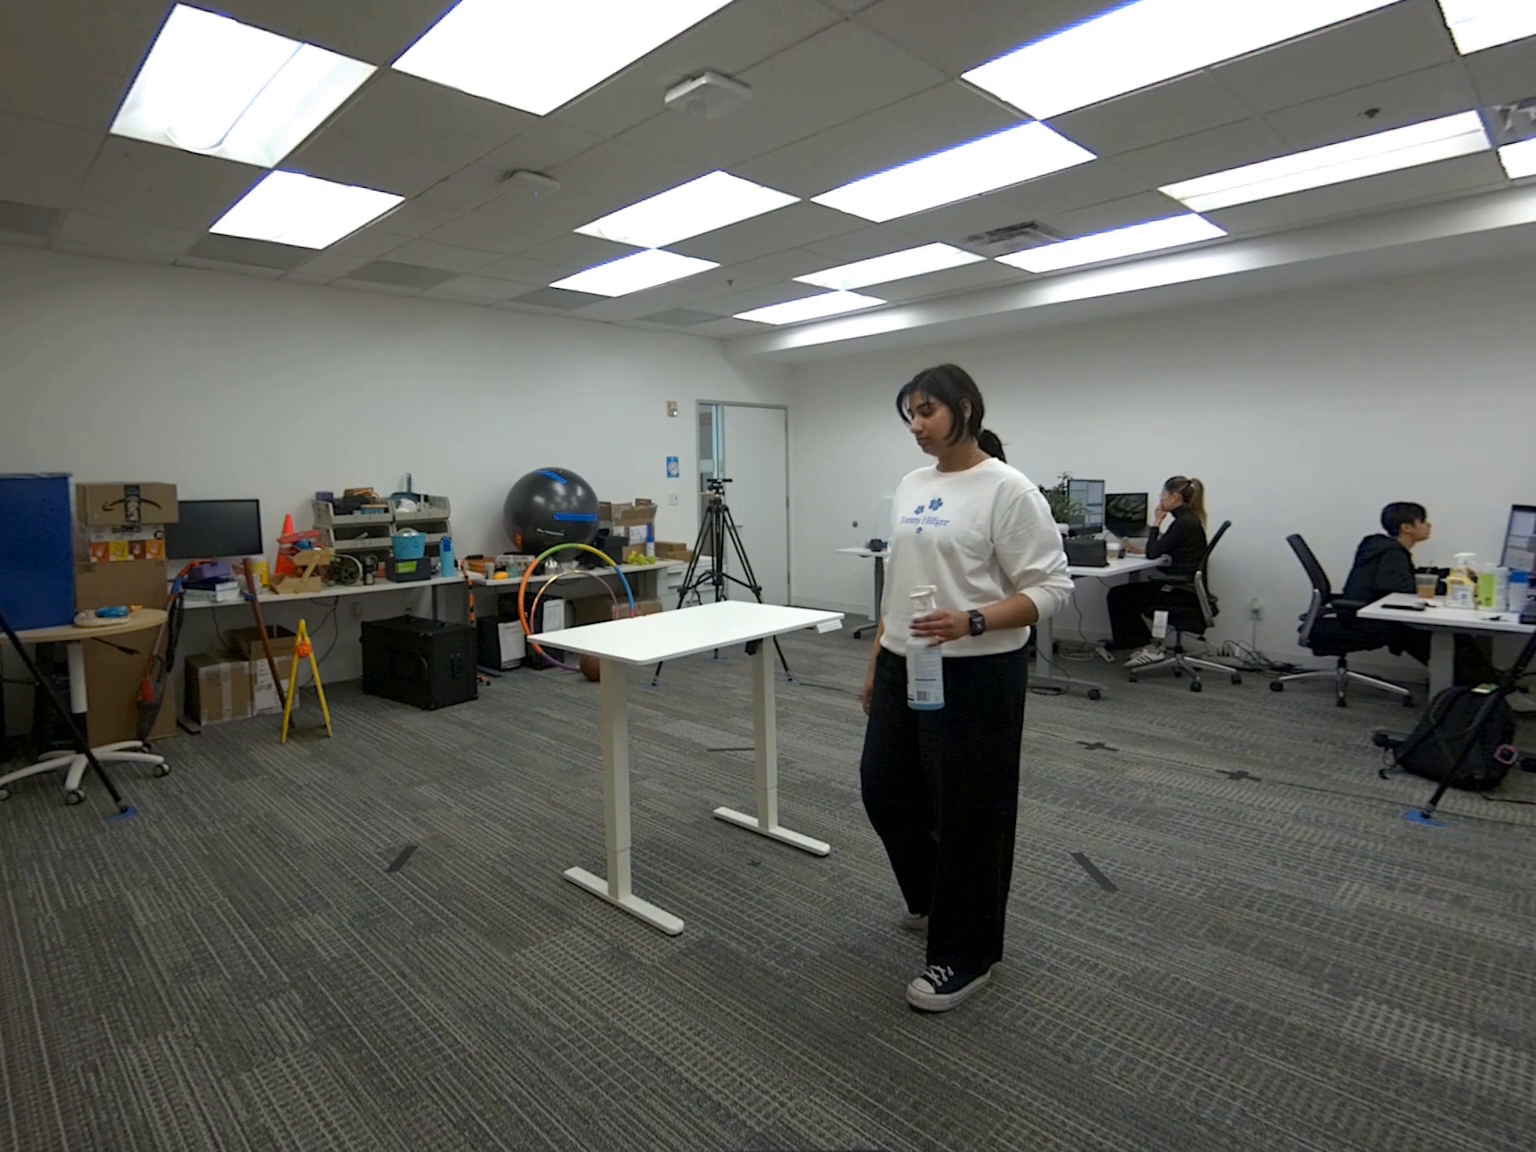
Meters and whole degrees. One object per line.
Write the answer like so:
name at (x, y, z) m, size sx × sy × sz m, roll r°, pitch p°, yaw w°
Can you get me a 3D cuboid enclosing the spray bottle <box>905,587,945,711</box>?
spray bottle at (0.392, 0.173, 2.090) m, size 0.087 × 0.297 × 0.090 m, roll -1°, pitch -1°, yaw -5°
